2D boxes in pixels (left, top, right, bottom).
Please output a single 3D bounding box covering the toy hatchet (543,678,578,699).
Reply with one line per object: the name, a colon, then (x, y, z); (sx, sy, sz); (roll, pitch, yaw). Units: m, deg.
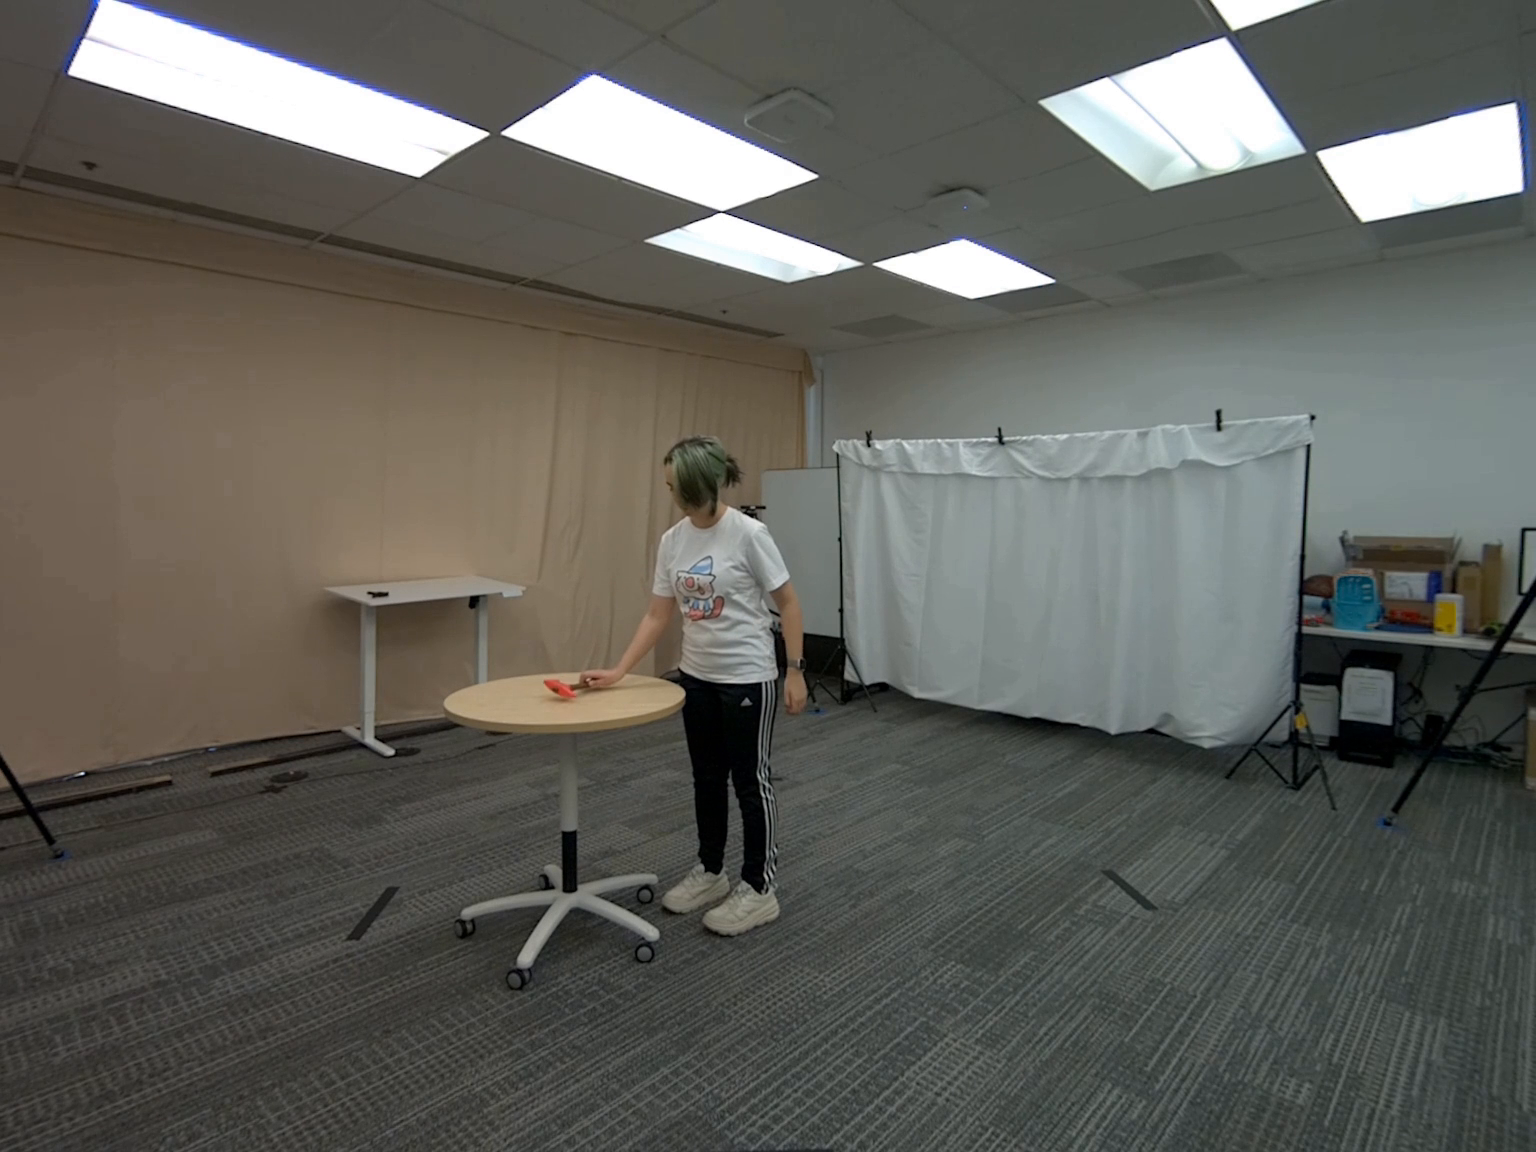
toy hatchet: (-0.632, 0.345, 2.748); (0.132, 0.029, 0.268); (15, 4, 5)
